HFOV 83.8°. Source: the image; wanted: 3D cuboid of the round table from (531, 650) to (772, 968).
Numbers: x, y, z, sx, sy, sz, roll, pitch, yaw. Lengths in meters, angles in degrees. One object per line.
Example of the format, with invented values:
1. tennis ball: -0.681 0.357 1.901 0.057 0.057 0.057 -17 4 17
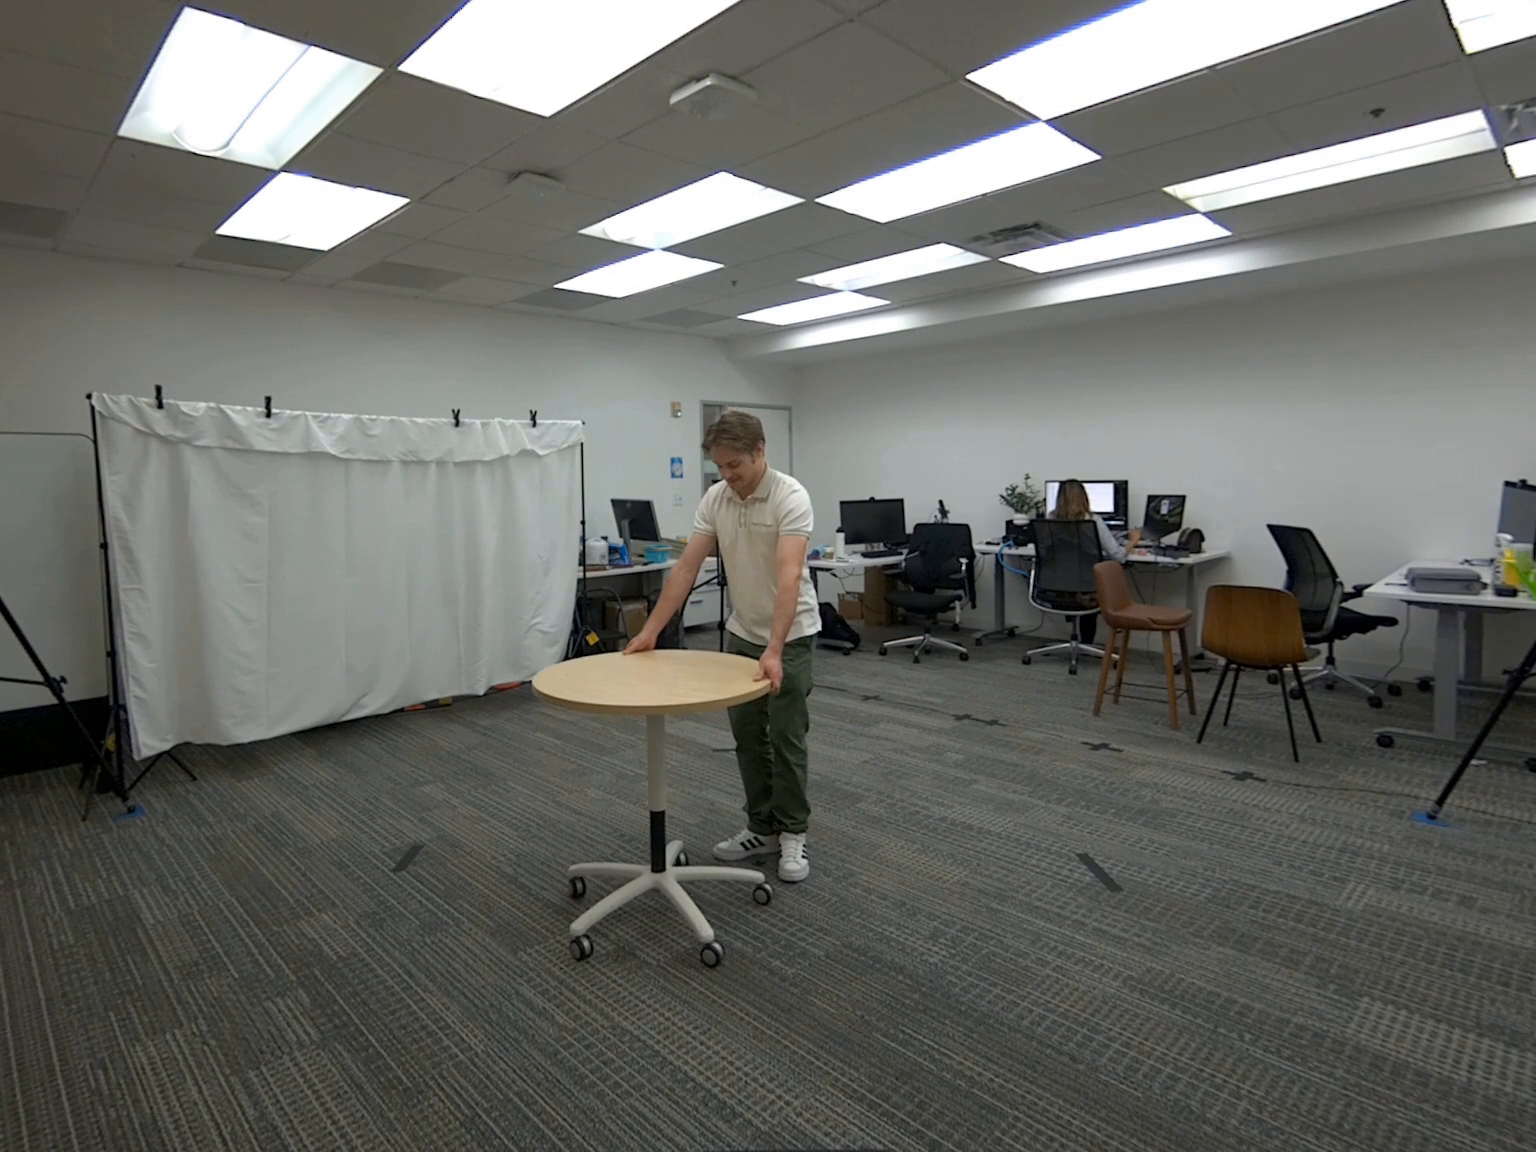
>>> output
1. round table: -0.353 0.706 2.750 0.763 0.791 0.768 -1 5 -2
